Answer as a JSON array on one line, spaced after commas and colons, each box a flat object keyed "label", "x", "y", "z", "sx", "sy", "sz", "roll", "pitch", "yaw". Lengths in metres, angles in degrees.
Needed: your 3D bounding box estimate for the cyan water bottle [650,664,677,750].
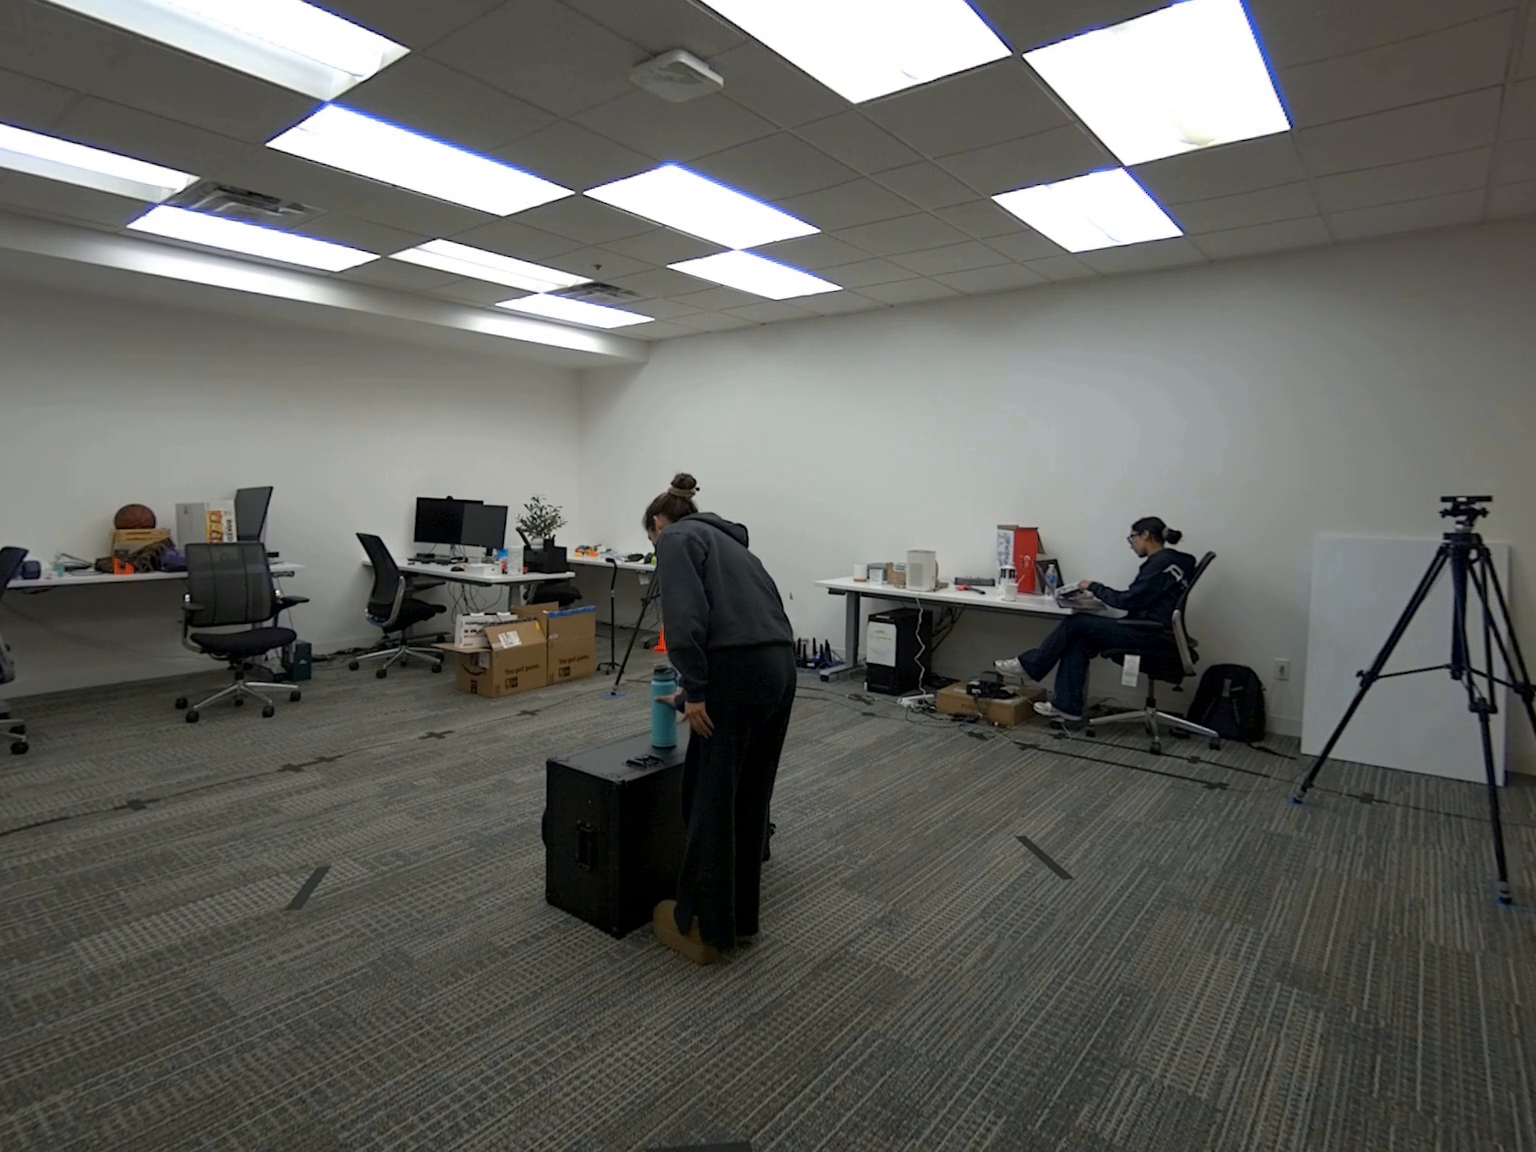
[{"label": "cyan water bottle", "x": -0.366, "y": 0.448, "z": 3.002, "sx": 0.092, "sy": 0.283, "sz": 0.092, "roll": 1, "pitch": 2, "yaw": -2}]
